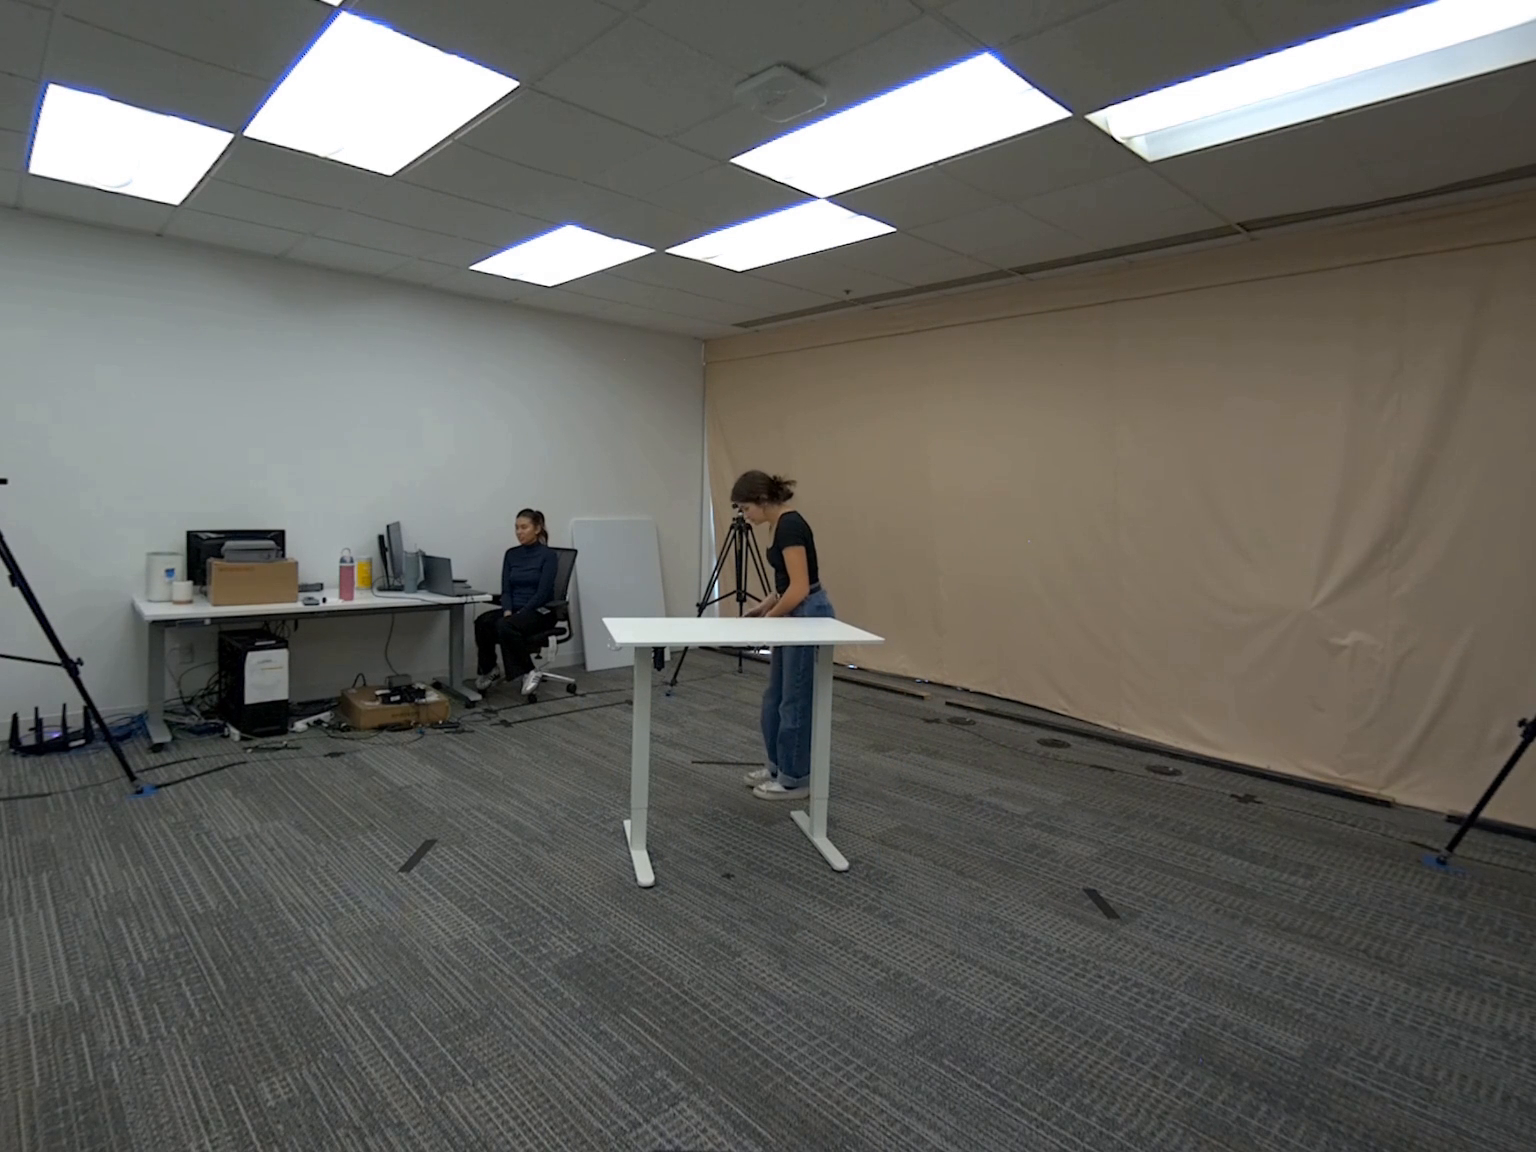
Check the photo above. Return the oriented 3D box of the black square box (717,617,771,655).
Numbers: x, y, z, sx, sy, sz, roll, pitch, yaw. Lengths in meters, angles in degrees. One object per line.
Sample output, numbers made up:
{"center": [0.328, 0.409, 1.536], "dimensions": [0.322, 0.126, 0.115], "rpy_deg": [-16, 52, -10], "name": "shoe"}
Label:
{"center": [-0.118, 0.276, 3.945], "dimensions": [0.227, 0.157, 0.216], "rpy_deg": [-3, -6, -4], "name": "black square box"}
